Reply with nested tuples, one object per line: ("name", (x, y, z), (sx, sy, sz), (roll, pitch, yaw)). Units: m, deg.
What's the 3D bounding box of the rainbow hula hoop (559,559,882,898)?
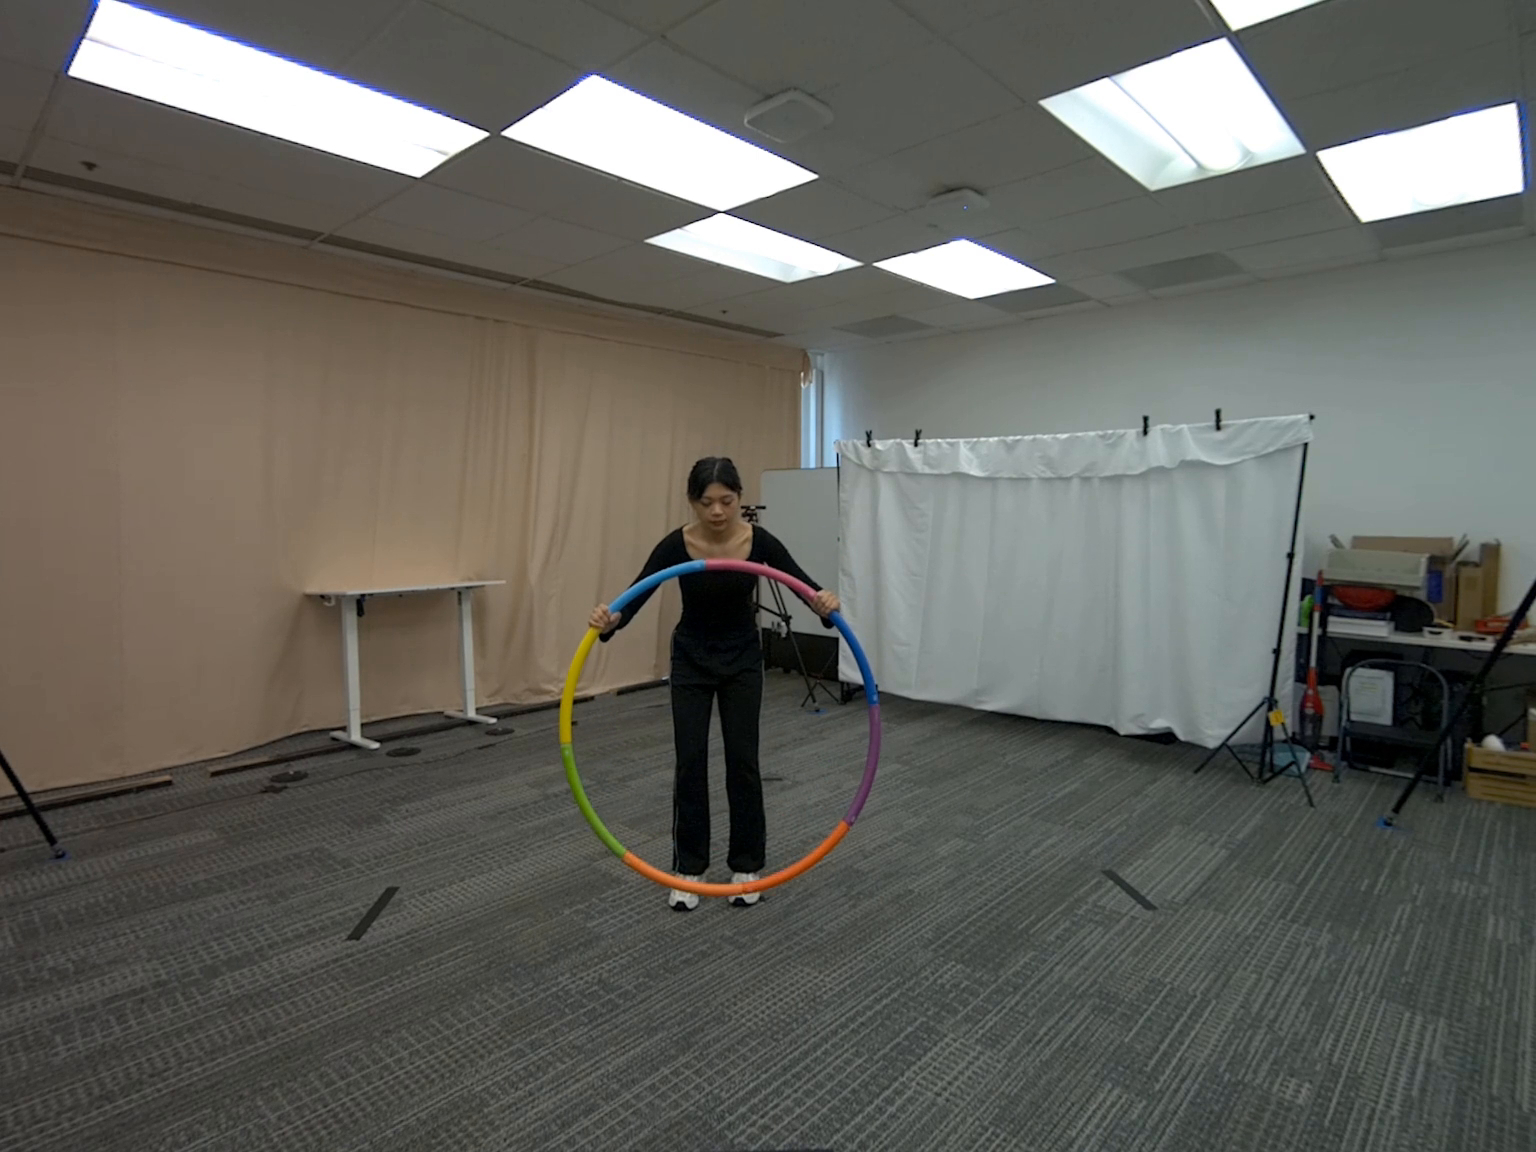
("rainbow hula hoop", (-0.127, 0.456, 2.534), (0.974, 0.982, 0.035), (0, -5, -4))
